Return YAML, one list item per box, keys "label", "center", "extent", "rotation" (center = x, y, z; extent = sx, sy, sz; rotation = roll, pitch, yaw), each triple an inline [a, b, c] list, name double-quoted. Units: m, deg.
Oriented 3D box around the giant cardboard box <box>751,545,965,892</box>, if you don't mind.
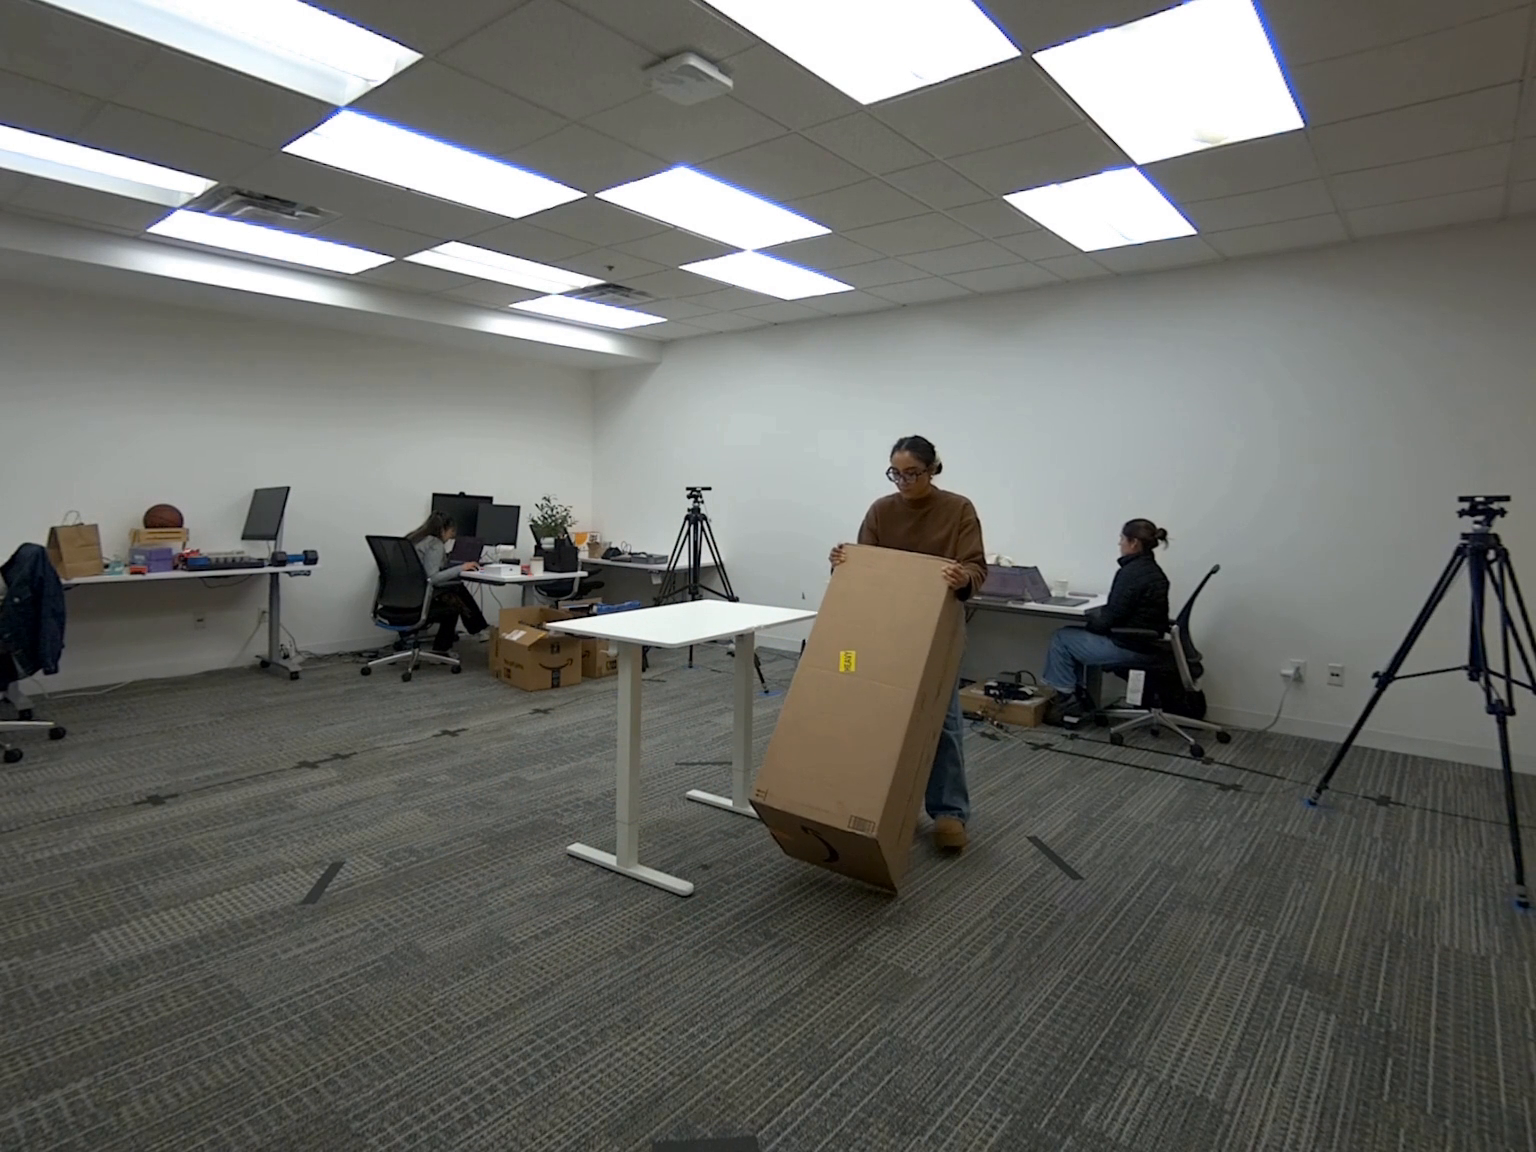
- label: "giant cardboard box"
  center: [0.366, 0.491, 3.058]
  extent: [0.438, 1.037, 0.555]
  rotation: [9, -32, 23]
